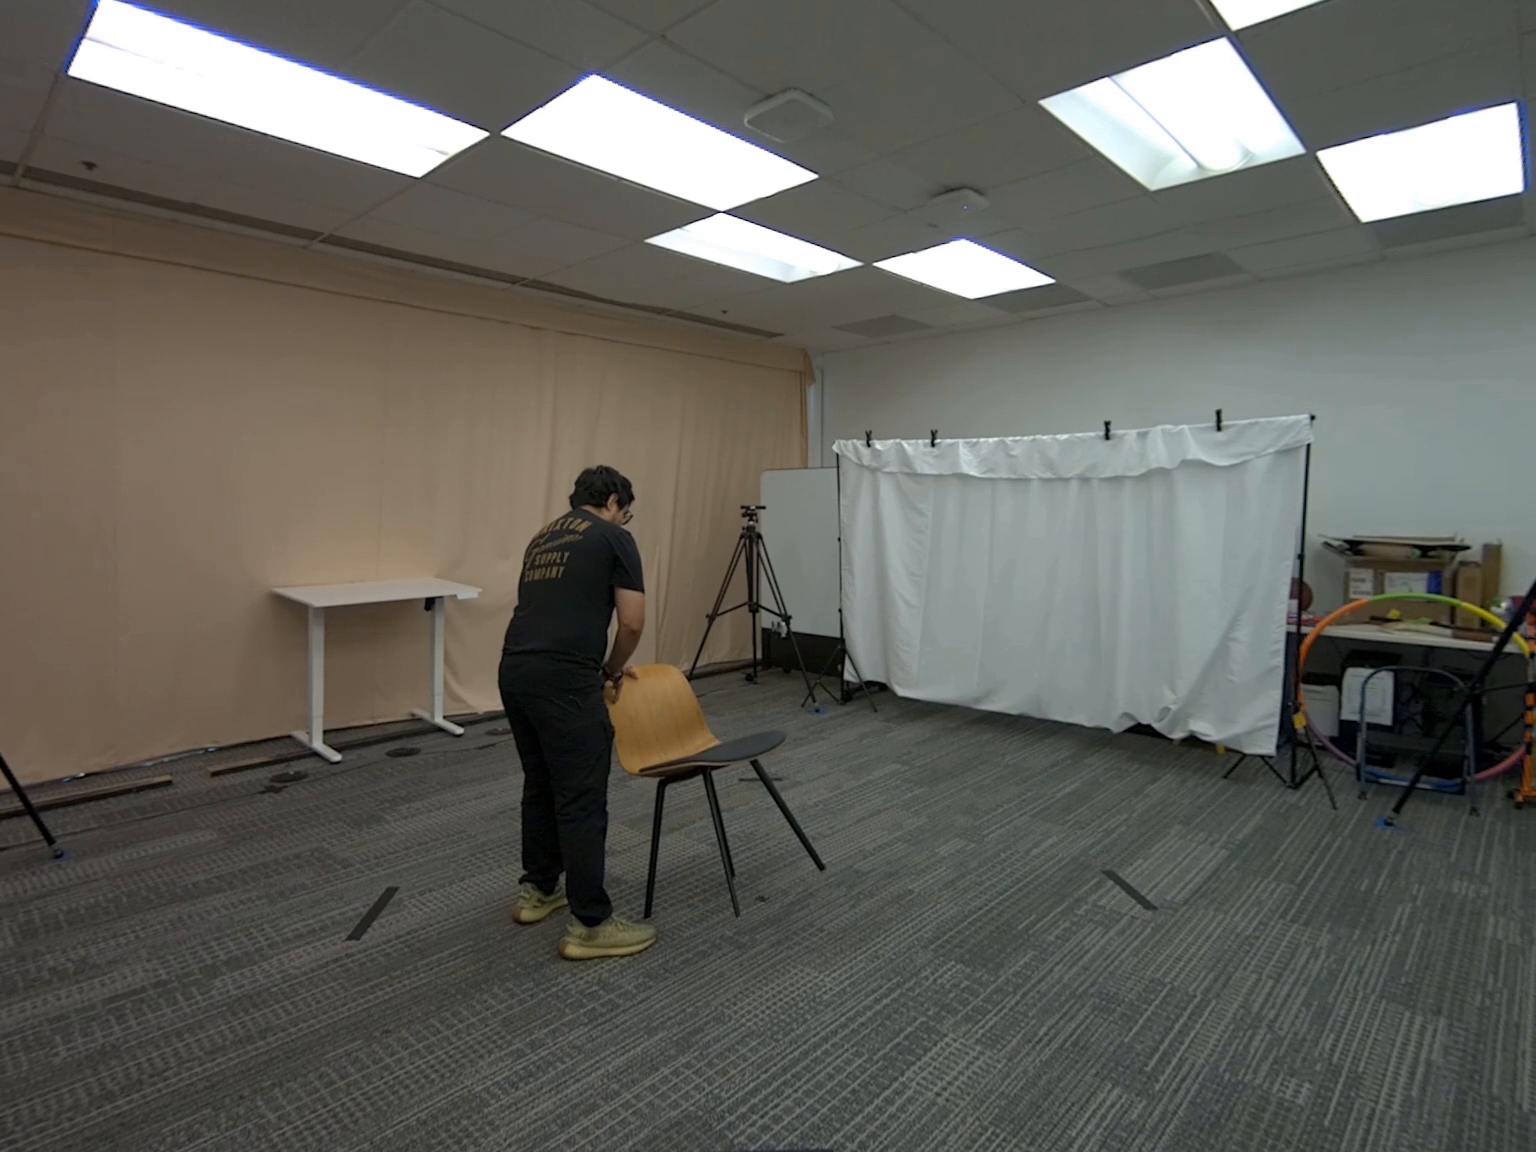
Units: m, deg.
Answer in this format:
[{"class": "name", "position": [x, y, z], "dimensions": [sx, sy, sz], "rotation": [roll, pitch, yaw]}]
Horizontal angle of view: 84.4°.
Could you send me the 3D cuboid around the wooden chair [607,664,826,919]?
[{"class": "wooden chair", "position": [-0.204, 0.673, 2.920], "dimensions": [0.533, 0.888, 0.463], "rotation": [-29, -16, 39]}]
